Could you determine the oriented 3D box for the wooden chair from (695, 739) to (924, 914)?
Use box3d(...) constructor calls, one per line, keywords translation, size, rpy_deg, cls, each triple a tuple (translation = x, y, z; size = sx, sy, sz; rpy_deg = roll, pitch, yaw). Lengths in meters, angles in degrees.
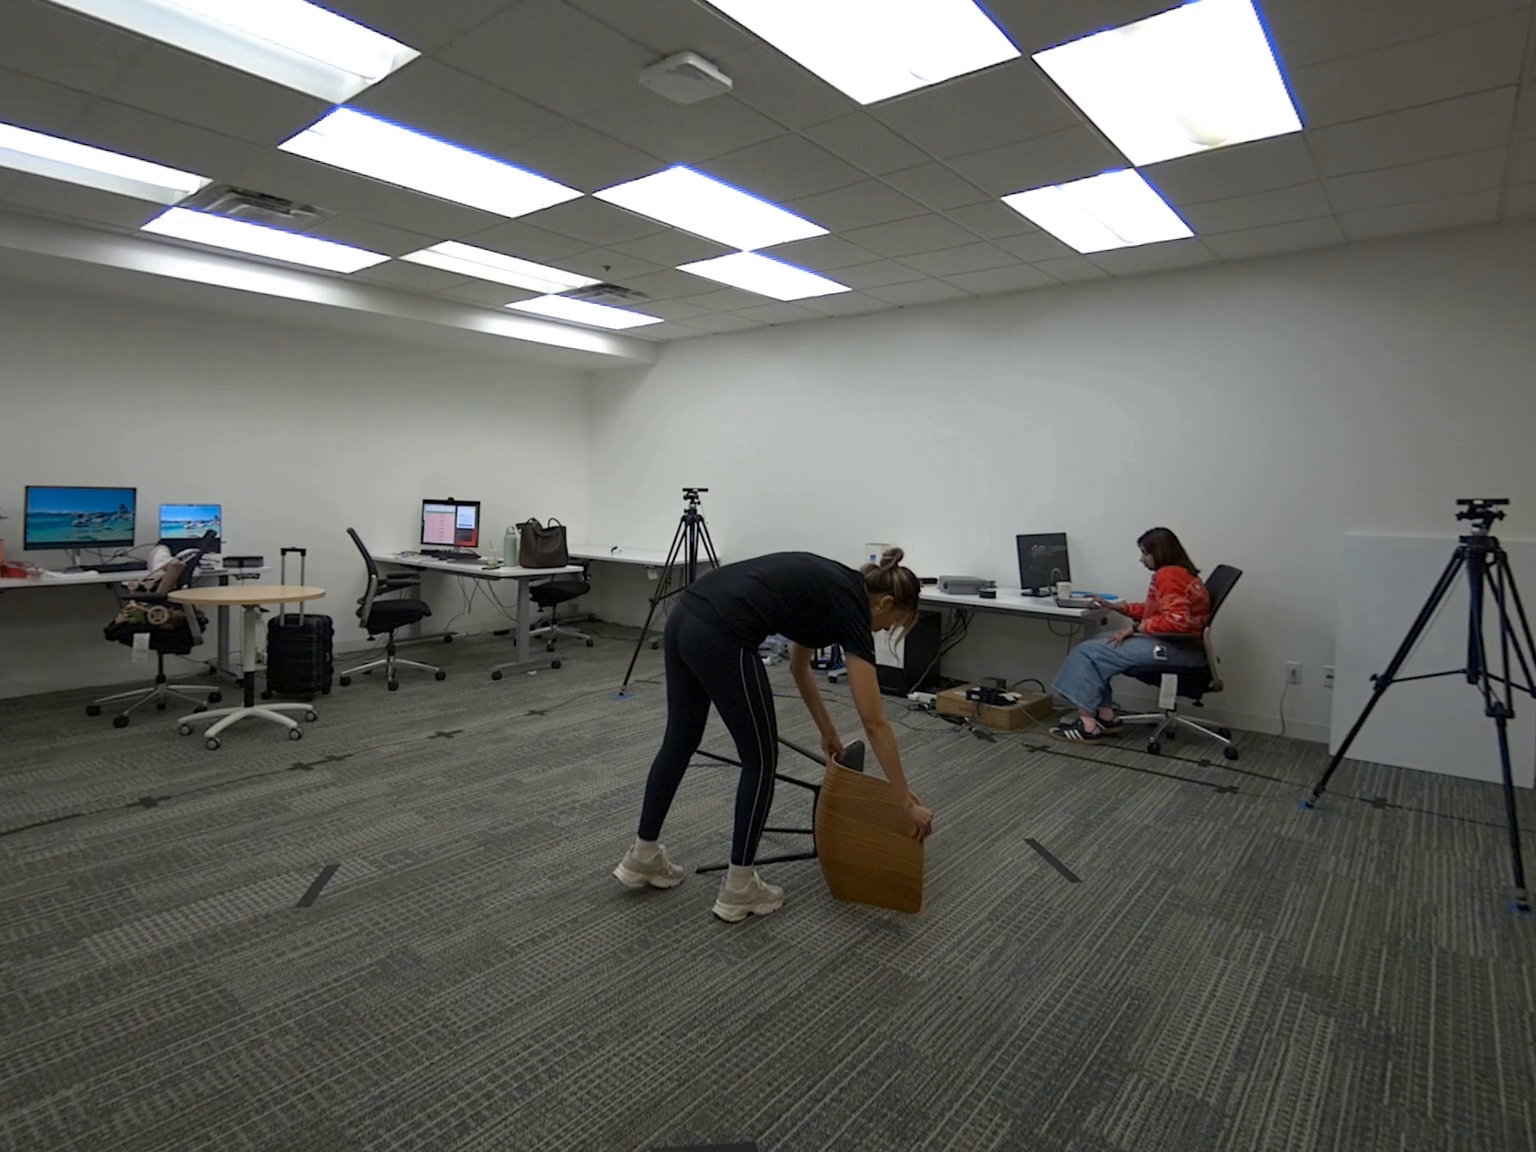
box3d(translation=(0.219, 0.847, 3.071), size=(0.903, 0.477, 0.509), rpy_deg=(3, 4, 31), cls="wooden chair")
